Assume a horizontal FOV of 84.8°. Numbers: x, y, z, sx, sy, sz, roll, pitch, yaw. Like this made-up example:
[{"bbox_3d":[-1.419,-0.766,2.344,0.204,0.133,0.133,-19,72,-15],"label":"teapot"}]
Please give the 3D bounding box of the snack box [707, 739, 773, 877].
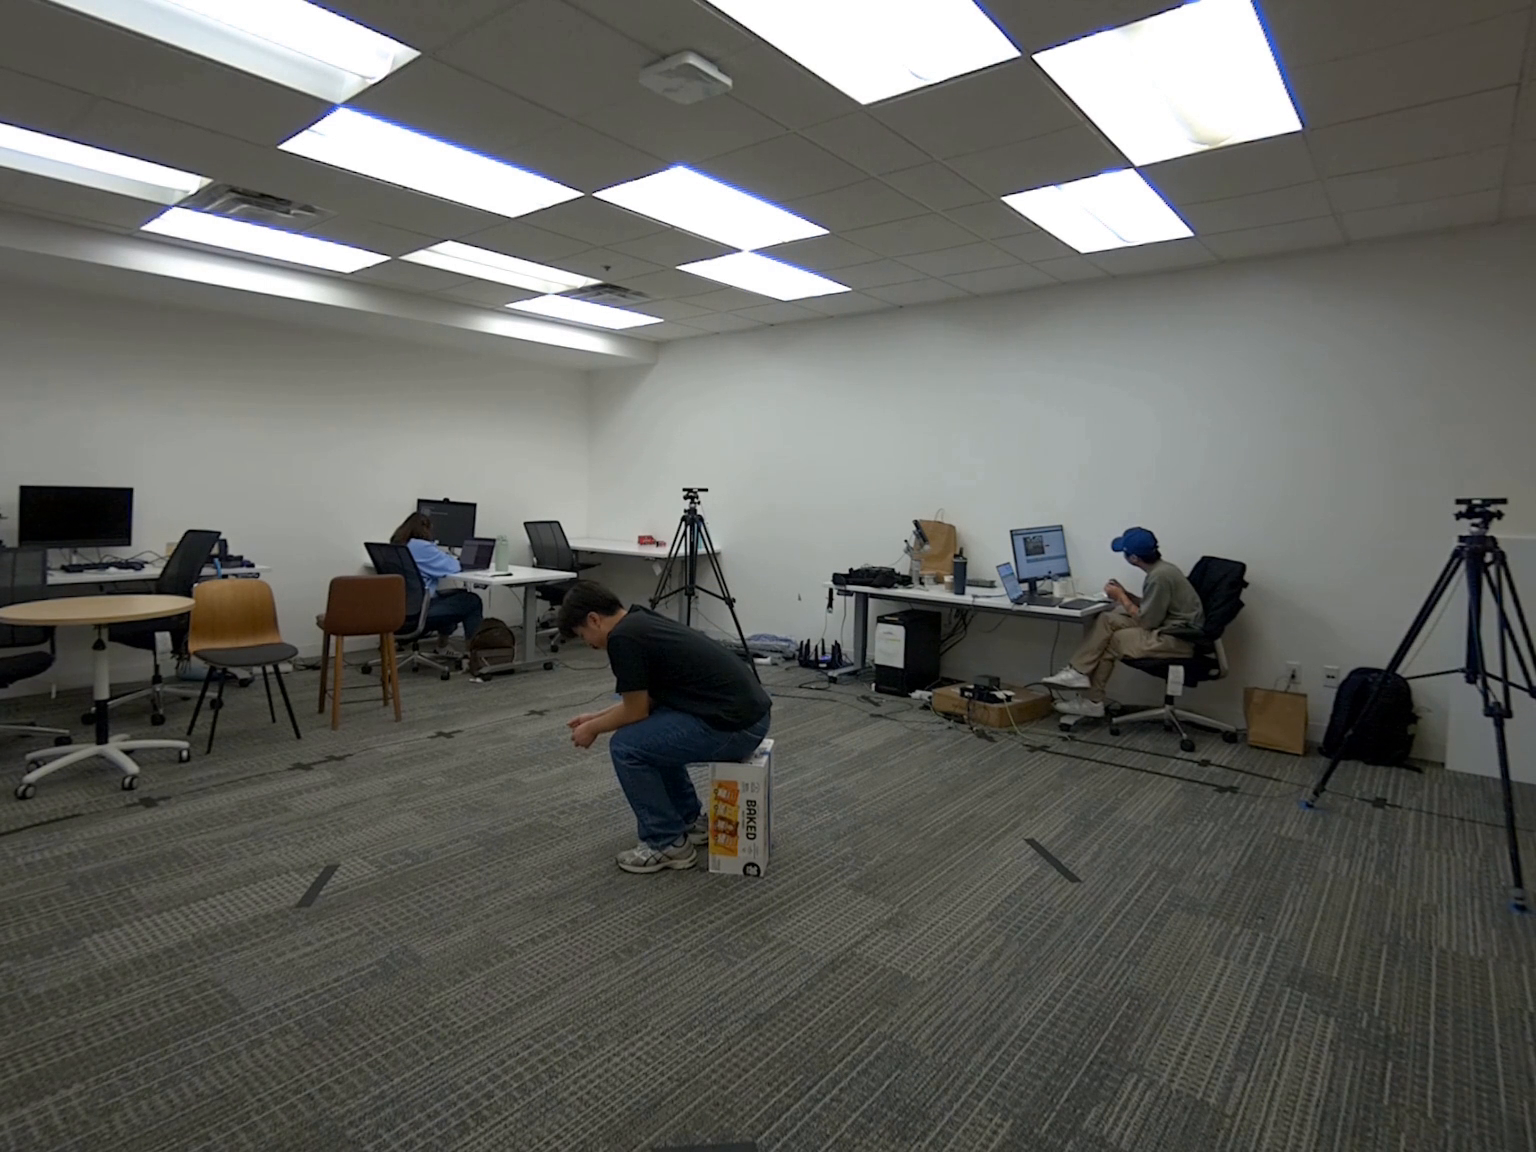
[{"bbox_3d":[-0.106,0.860,3.223,0.208,0.404,0.338,1,4,8],"label":"snack box"}]
